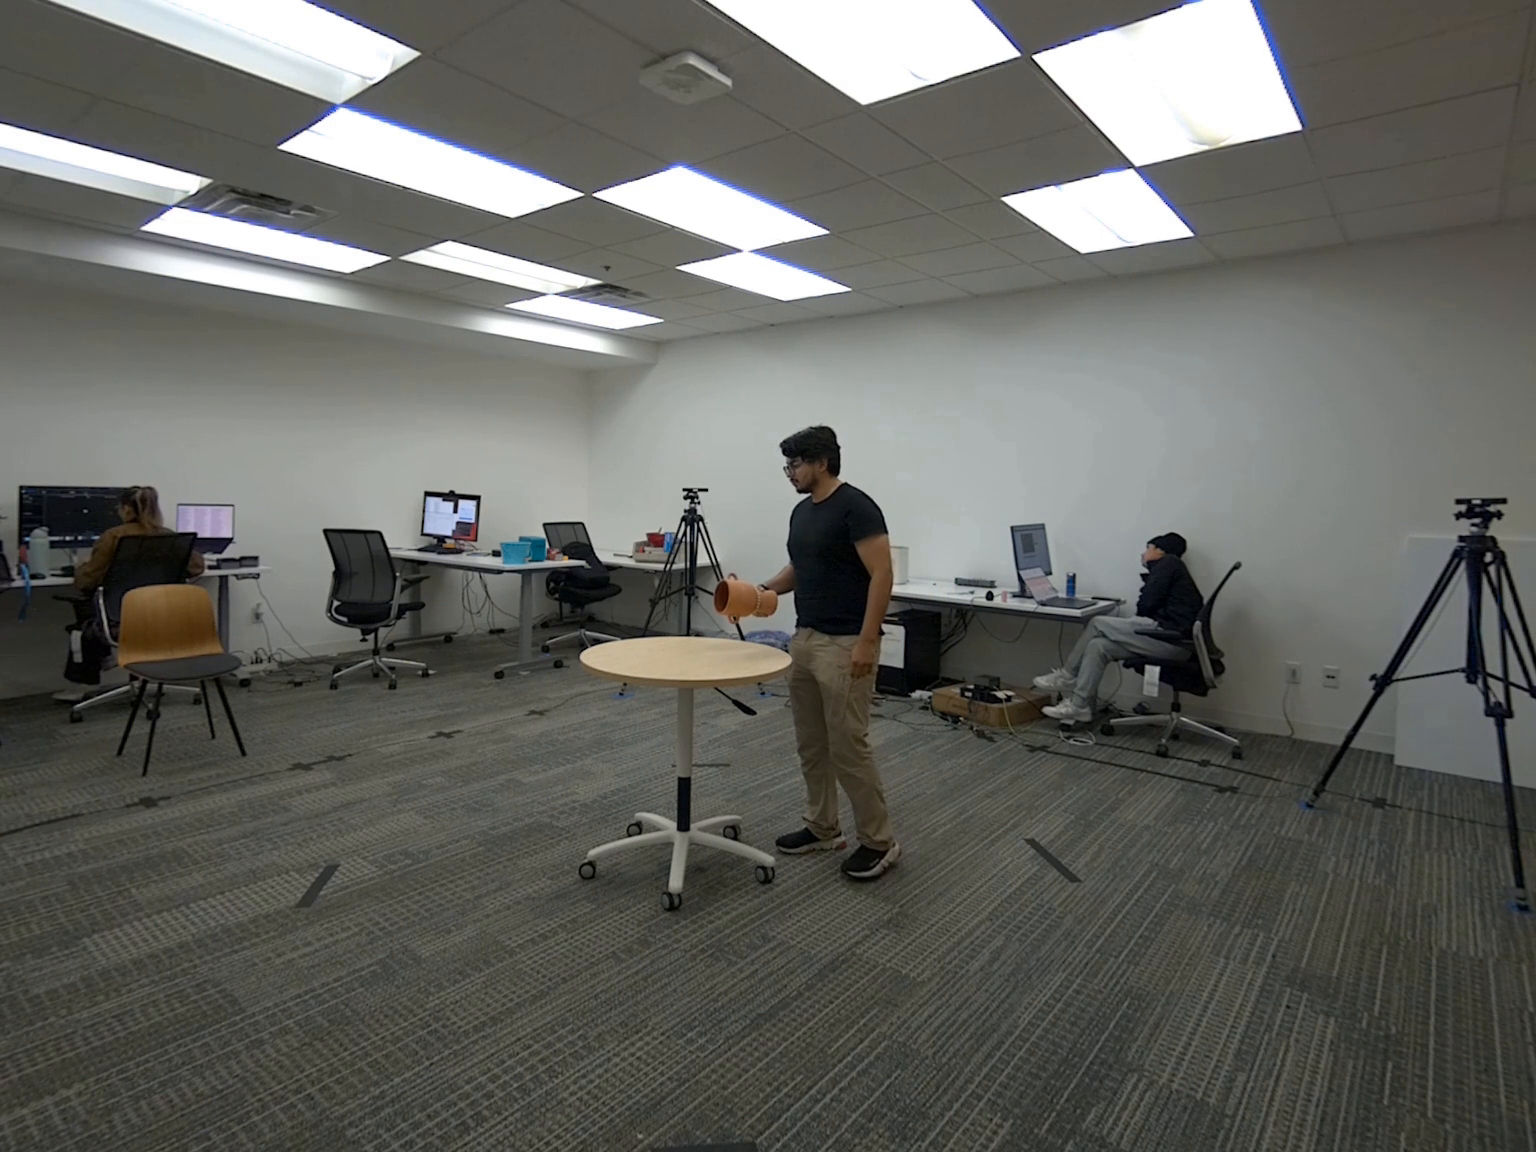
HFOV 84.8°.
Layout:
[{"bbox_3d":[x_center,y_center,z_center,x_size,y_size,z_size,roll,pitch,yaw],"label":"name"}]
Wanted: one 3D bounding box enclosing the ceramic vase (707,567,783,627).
[{"bbox_3d":[-0.088,0.080,3.221,0.213,0.157,0.140,9,18,-29],"label":"ceramic vase"}]
